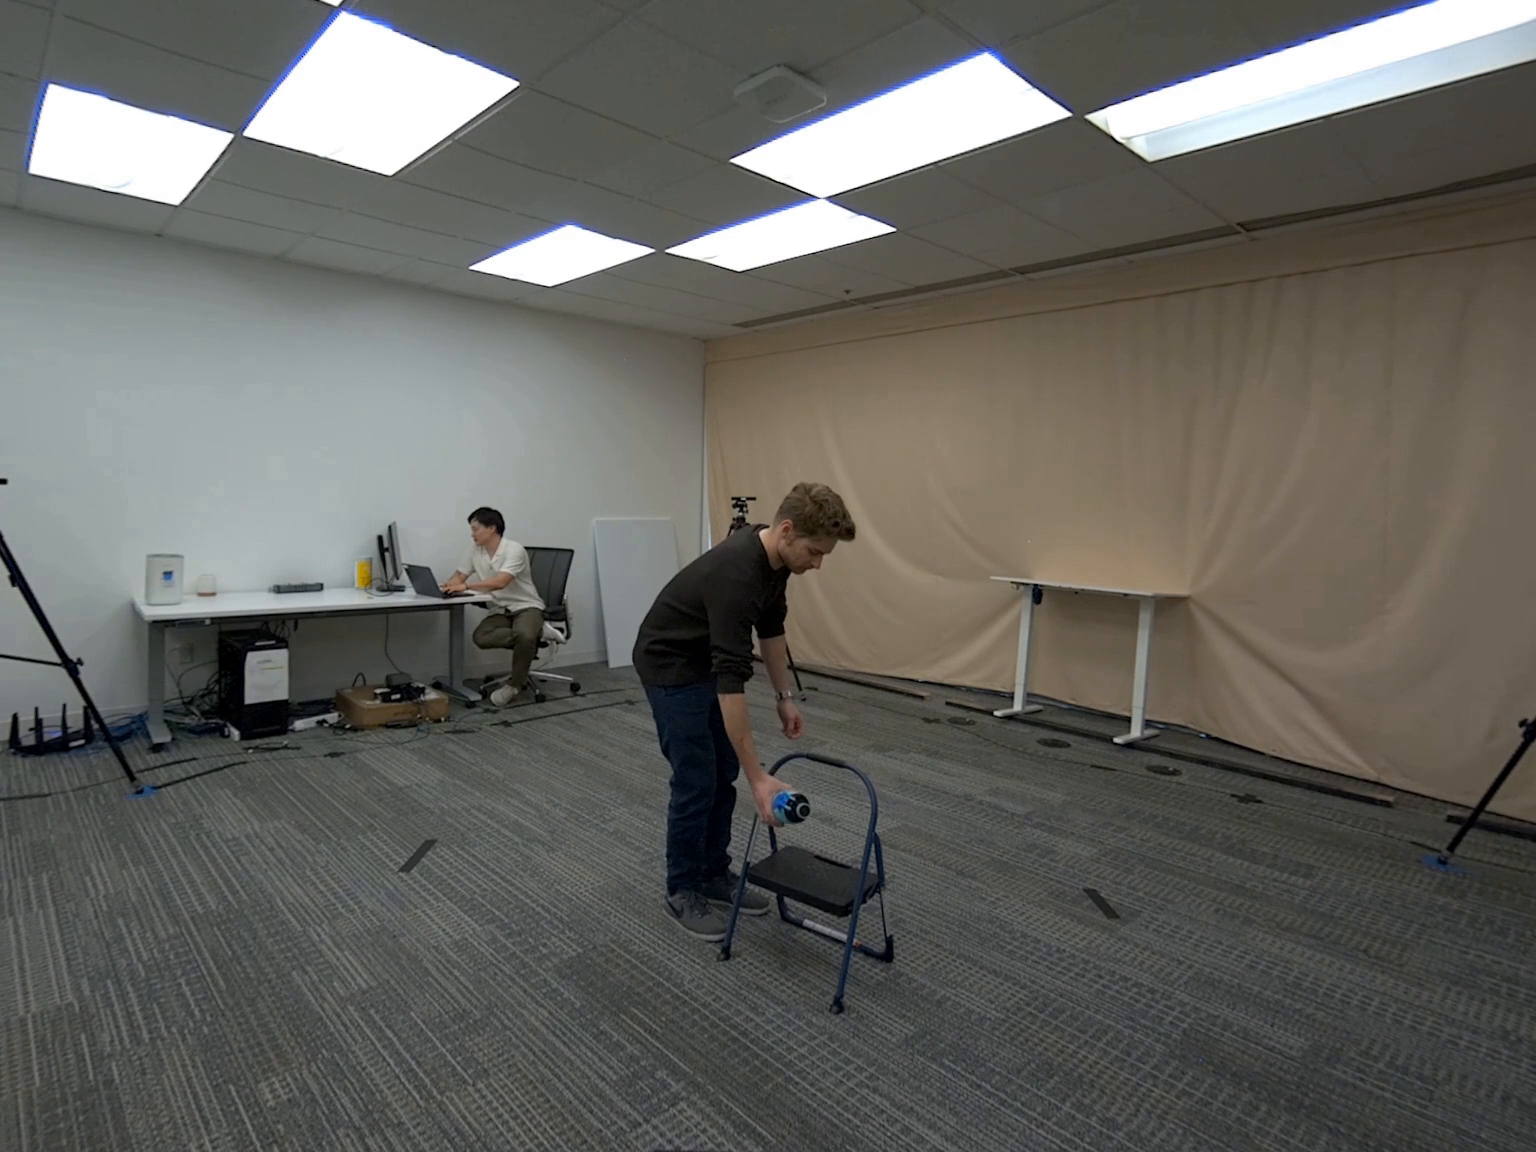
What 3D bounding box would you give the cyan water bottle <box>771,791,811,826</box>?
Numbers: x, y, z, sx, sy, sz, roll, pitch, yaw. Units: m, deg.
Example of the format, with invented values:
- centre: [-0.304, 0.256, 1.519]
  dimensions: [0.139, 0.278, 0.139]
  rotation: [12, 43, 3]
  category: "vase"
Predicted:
- centre: [0.045, 0.658, 2.402]
  dimensions: [0.091, 0.093, 0.283]
  rotation: [1, -12, -12]
  category: "cyan water bottle"
